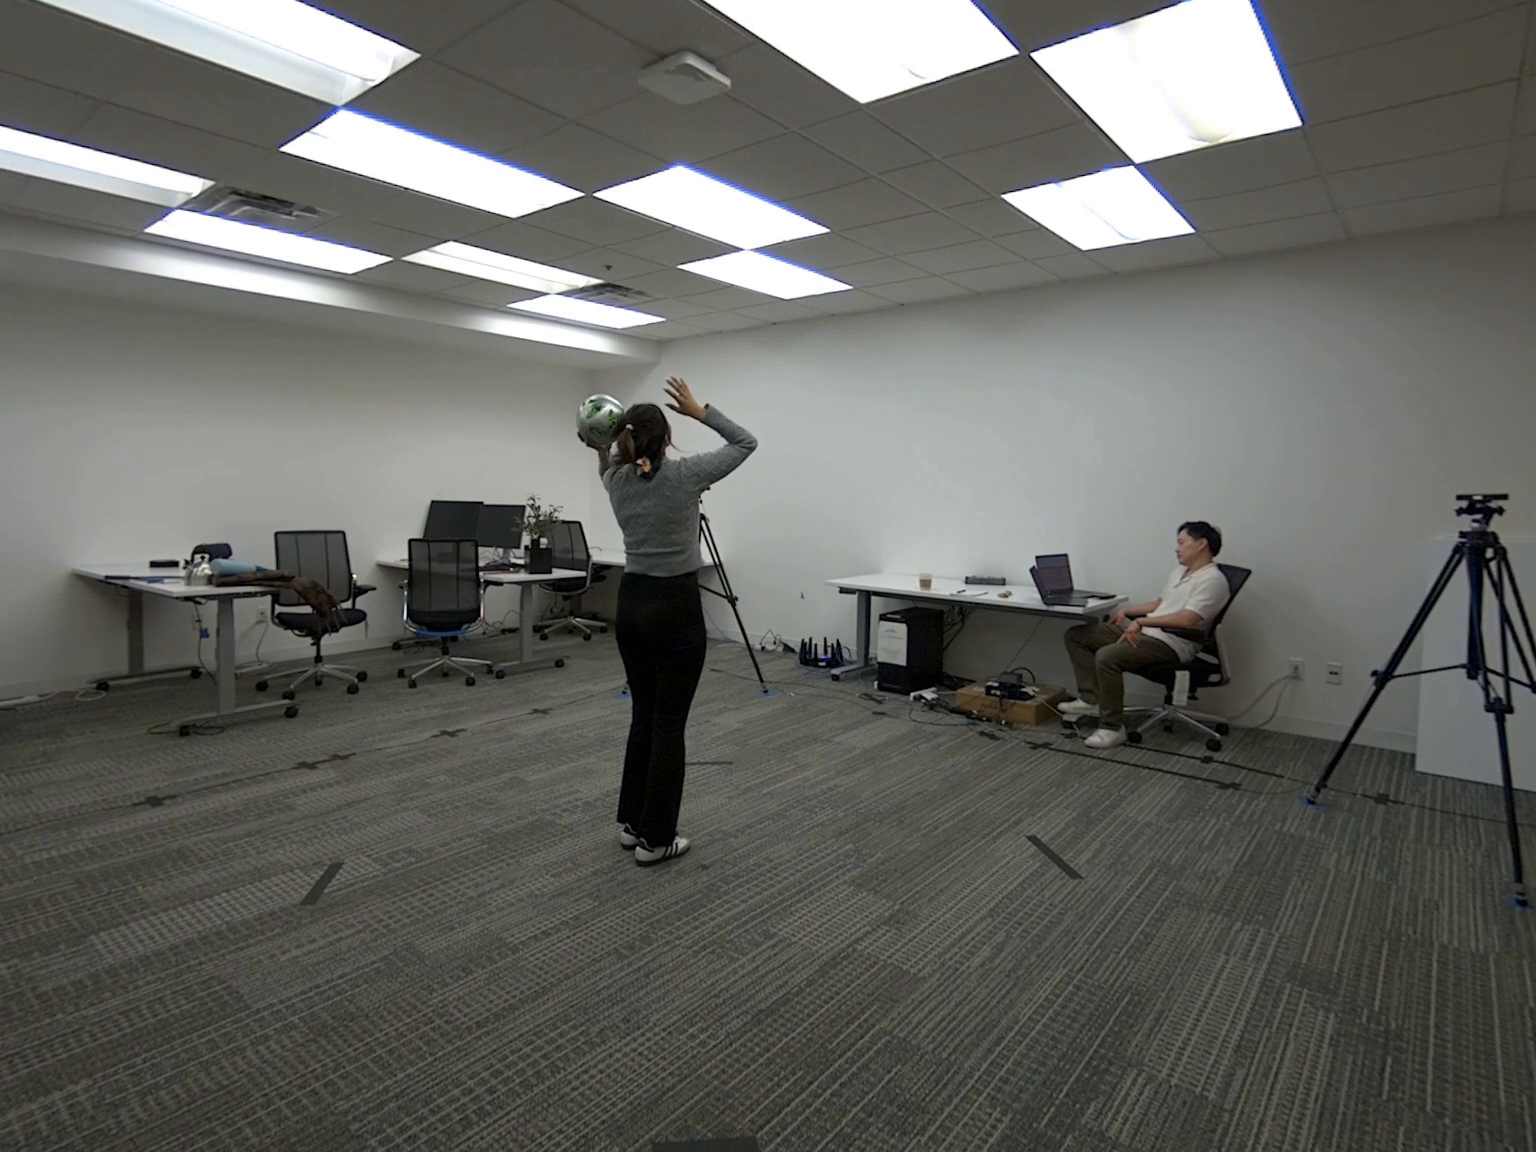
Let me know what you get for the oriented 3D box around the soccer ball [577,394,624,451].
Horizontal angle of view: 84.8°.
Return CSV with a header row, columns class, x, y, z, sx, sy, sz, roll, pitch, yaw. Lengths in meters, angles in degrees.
class,x,y,z,sx,sy,sz,roll,pitch,yaw
soccer ball,-0.618,-0.598,3.183,0.187,0.187,0.188,1,4,-2
